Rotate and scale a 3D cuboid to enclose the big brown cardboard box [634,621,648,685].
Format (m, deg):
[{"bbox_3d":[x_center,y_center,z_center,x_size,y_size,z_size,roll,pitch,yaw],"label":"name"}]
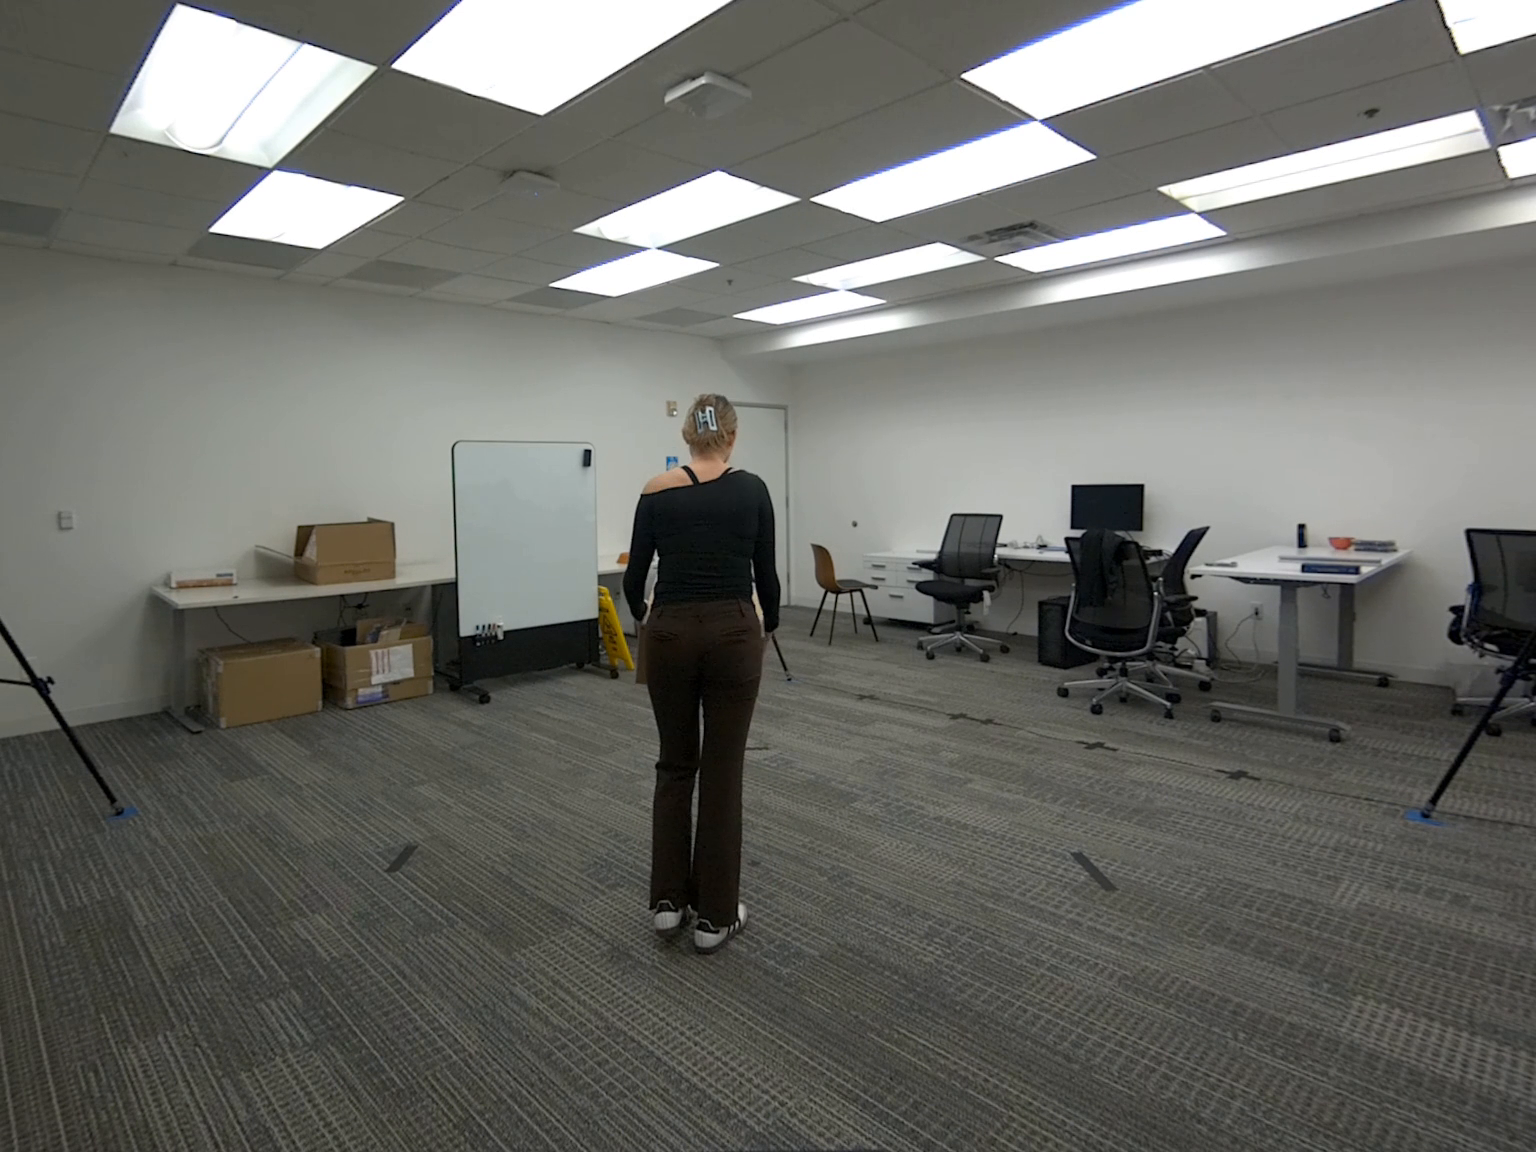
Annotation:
[{"bbox_3d":[-0.234,0.192,3.092,0.418,0.230,0.596,5,17,0],"label":"big brown cardboard box"}]
